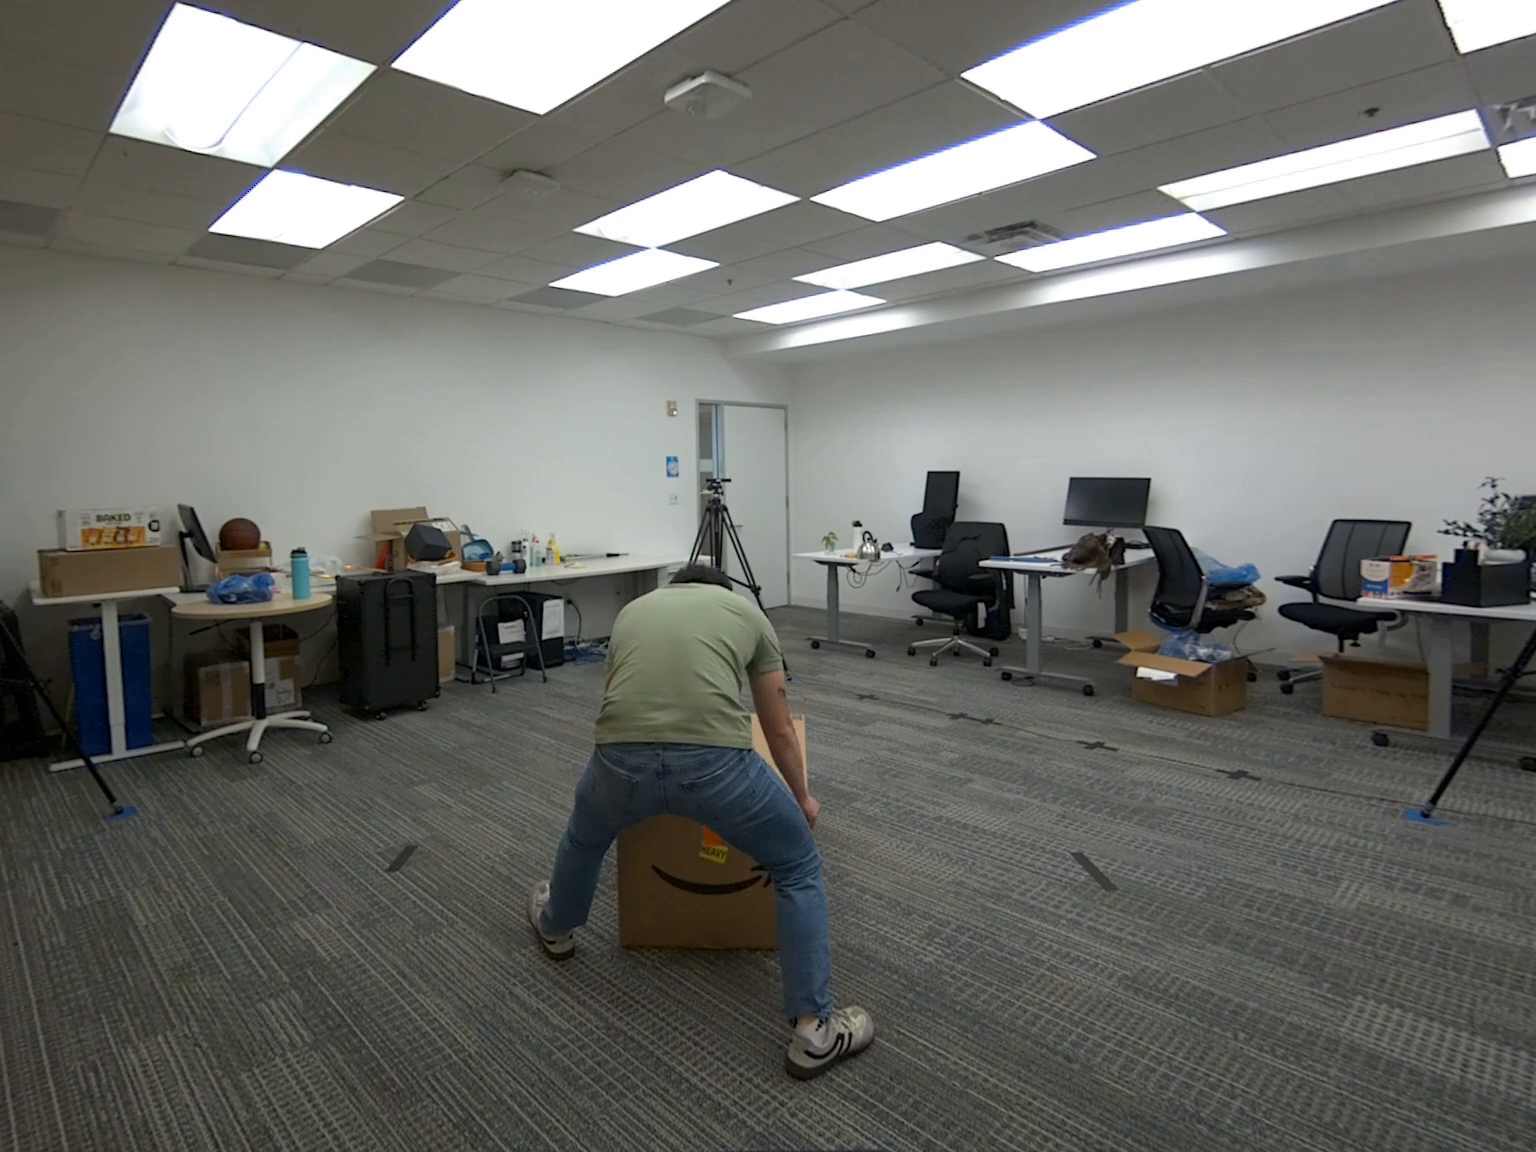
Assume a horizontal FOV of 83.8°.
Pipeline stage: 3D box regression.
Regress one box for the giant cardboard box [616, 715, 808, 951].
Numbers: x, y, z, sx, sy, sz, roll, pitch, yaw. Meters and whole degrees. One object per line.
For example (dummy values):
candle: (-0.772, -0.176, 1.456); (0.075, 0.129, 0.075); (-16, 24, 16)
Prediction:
giant cardboard box: (-0.144, 0.837, 3.046); (0.579, 0.424, 1.028); (-1, 7, 2)
